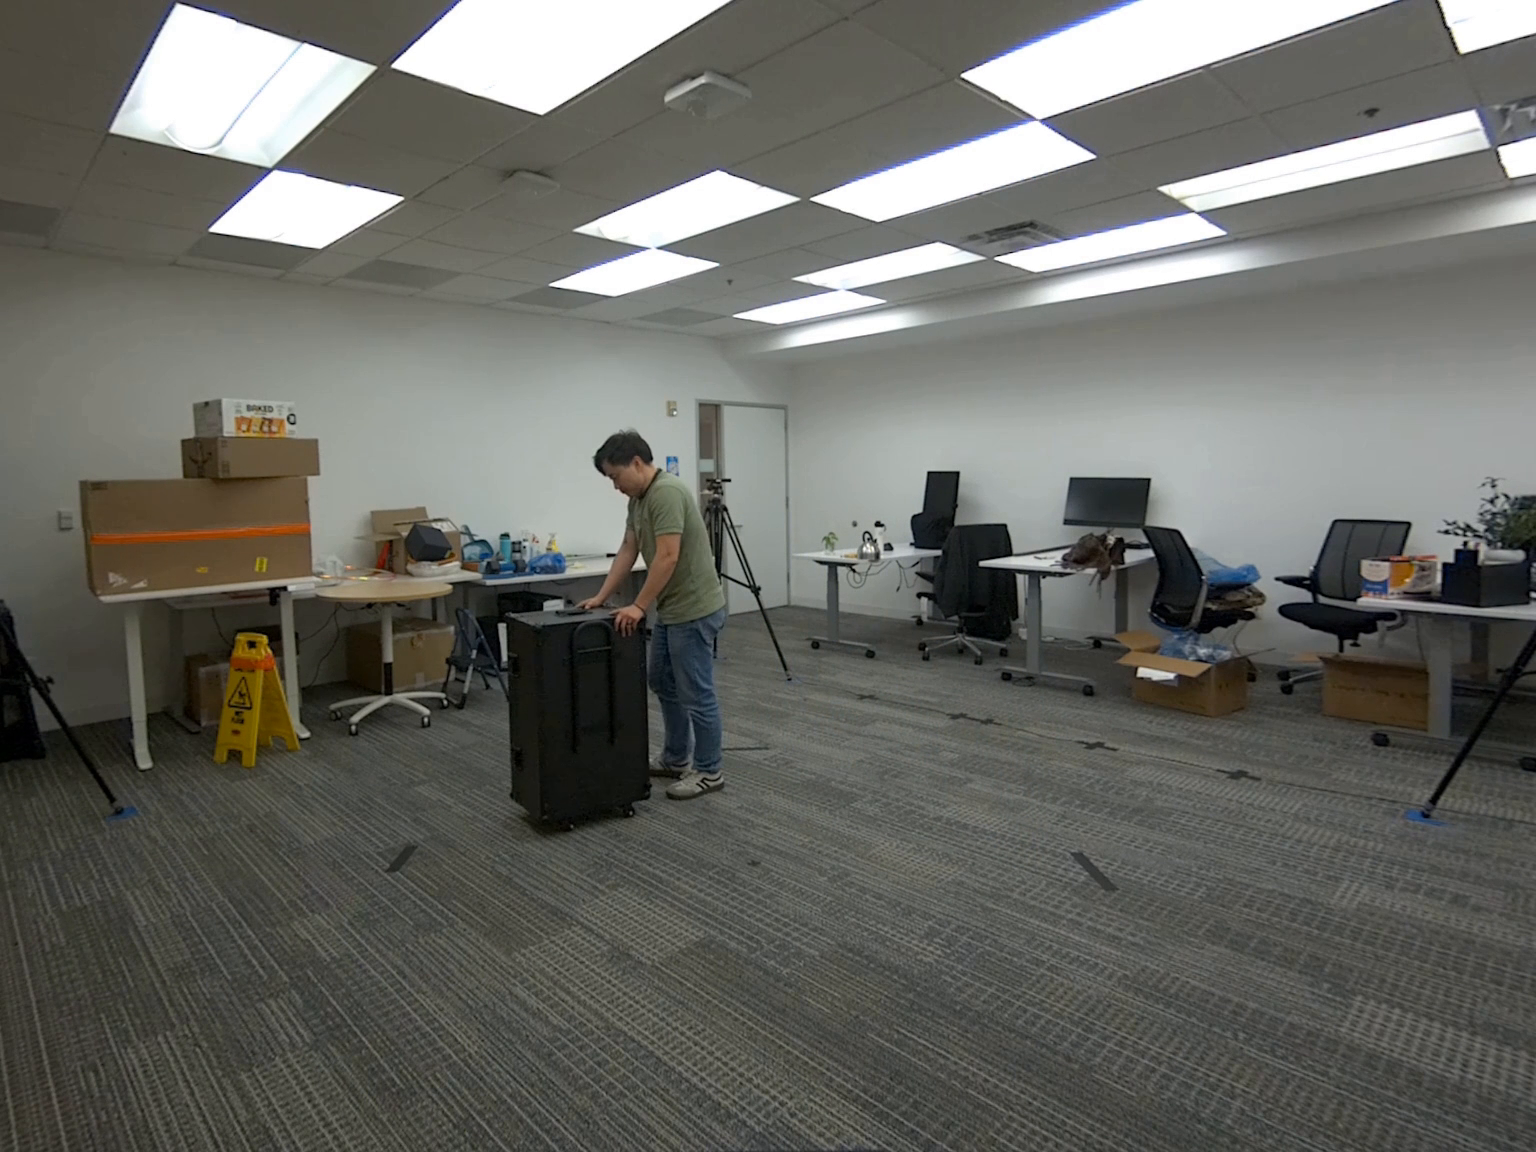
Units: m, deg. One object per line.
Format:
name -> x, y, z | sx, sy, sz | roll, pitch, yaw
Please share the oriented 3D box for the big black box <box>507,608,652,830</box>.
big black box -> -0.788, 0.584, 3.562 | 0.508, 0.858, 0.408 | -4, 6, -34
